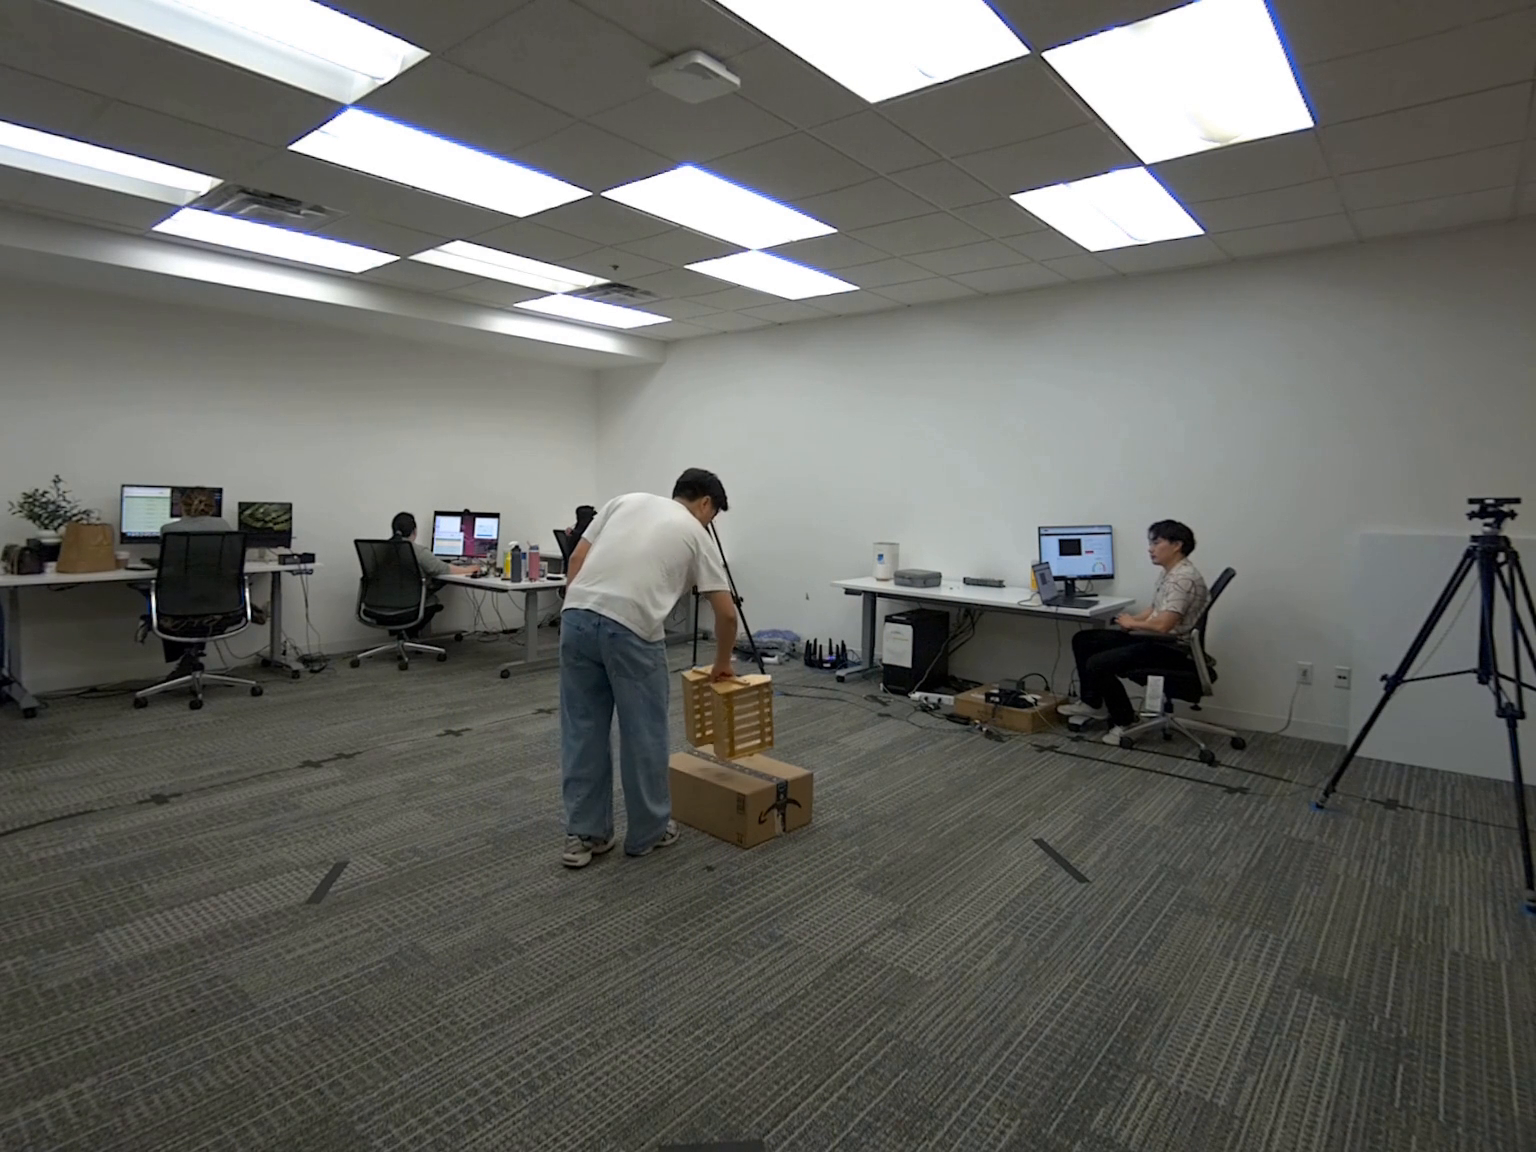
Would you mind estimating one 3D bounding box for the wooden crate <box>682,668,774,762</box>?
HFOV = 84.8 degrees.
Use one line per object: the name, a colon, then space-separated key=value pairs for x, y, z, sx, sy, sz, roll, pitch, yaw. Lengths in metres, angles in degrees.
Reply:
wooden crate: x=-0.175 y=0.554 z=3.483 sx=0.296 sy=0.319 sz=0.283 roll=-11 pitch=19 yaw=-26
